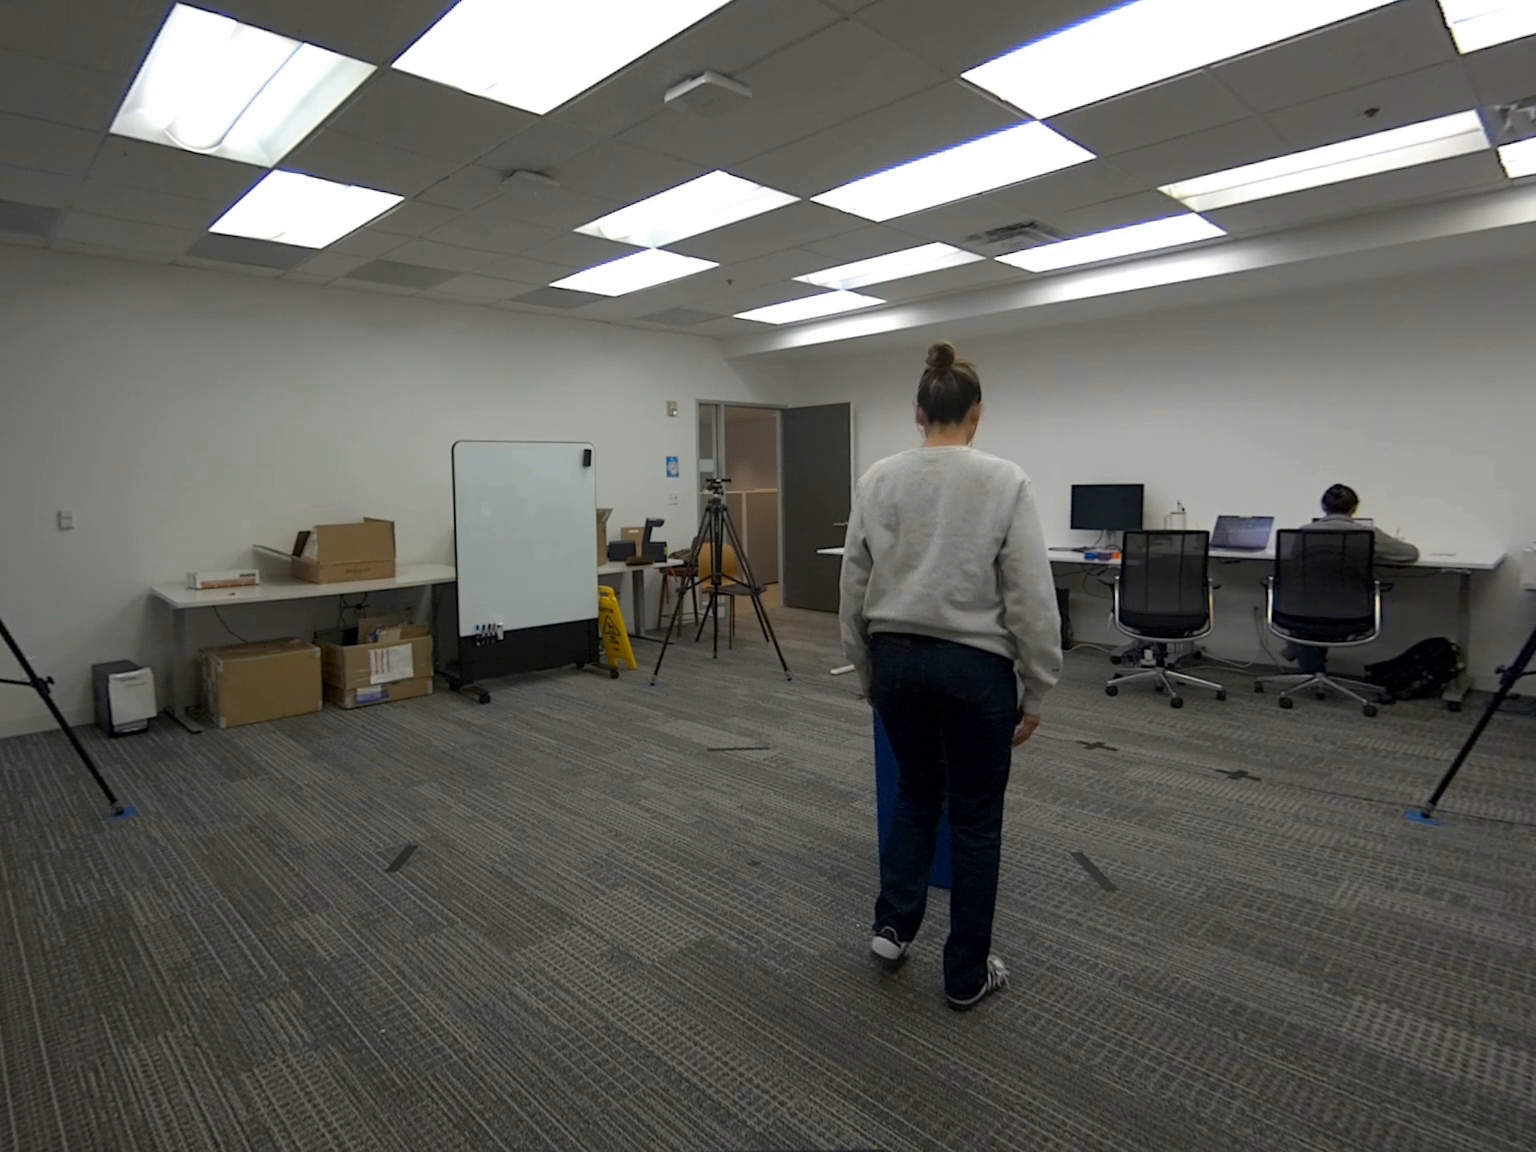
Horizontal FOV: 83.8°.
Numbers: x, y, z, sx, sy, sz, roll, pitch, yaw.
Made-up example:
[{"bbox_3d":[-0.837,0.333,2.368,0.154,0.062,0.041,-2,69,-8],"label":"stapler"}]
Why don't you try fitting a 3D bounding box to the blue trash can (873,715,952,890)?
[{"bbox_3d":[0.585,0.686,3.024,0.387,0.711,0.366,1,4,26],"label":"blue trash can"}]
